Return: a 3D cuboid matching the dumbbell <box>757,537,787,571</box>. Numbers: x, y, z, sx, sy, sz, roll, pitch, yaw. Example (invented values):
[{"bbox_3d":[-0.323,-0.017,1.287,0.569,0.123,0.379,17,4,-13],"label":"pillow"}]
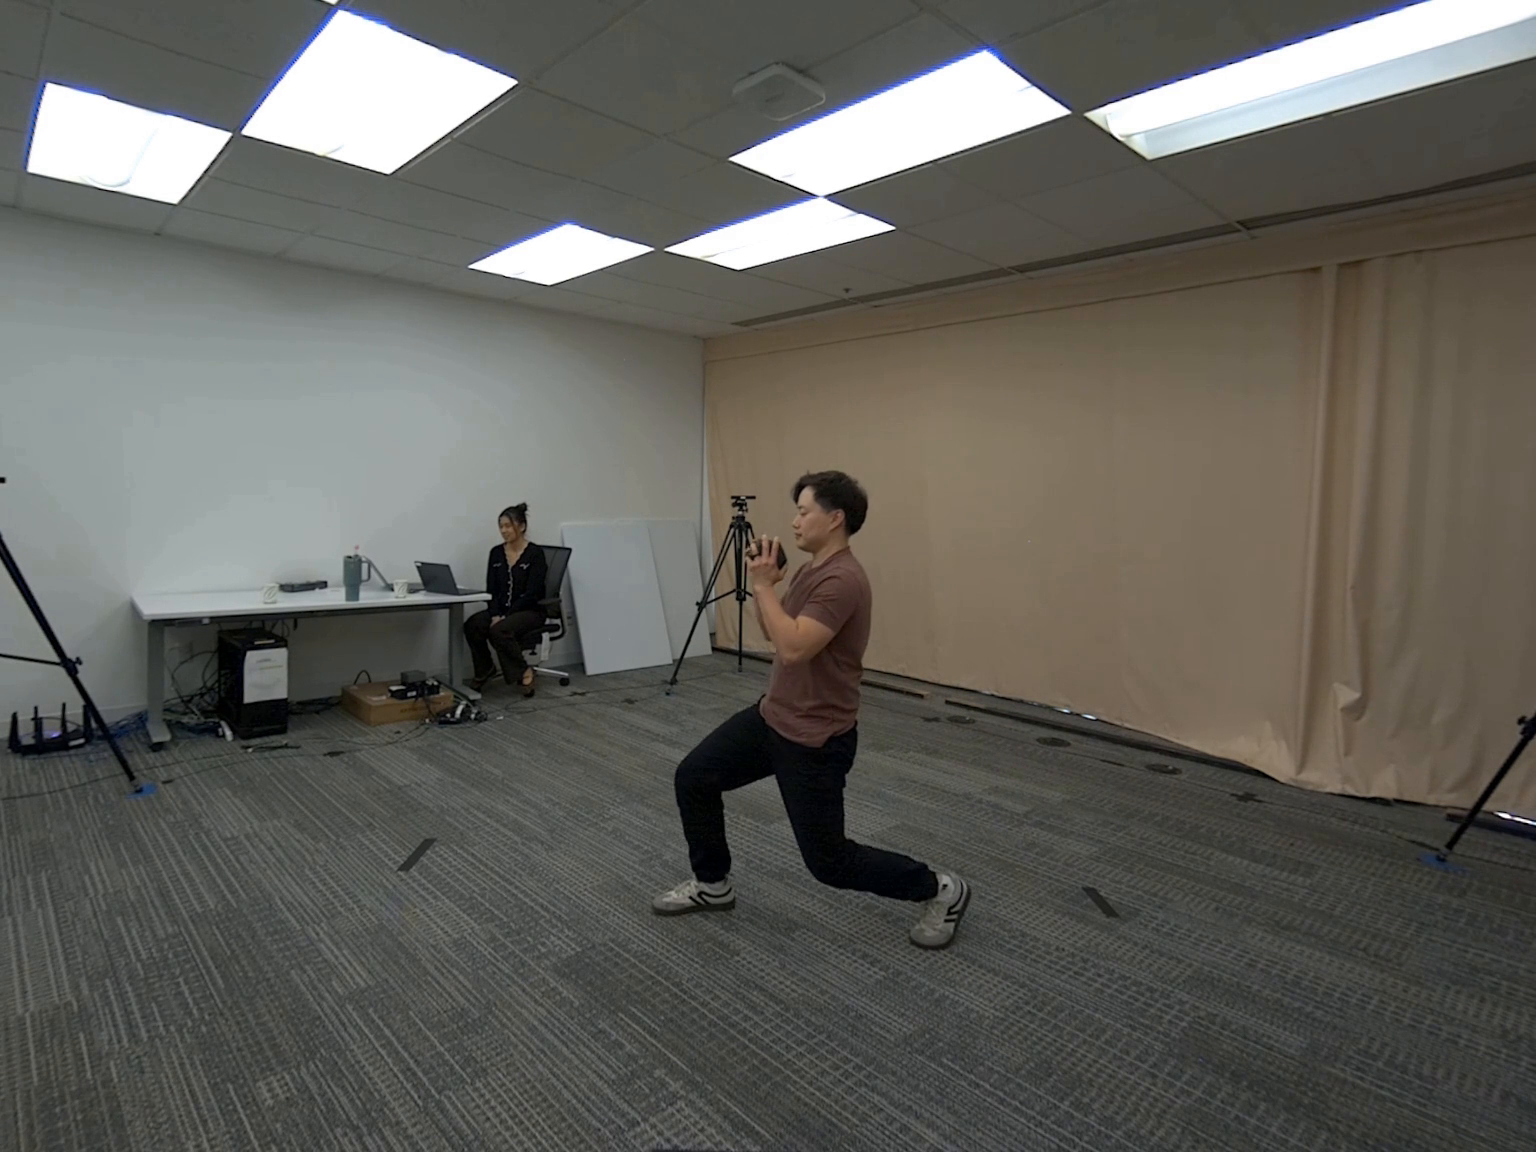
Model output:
[{"bbox_3d":[0.080,-0.047,2.685,0.124,0.109,0.291,10,1,7],"label":"dumbbell"}]
